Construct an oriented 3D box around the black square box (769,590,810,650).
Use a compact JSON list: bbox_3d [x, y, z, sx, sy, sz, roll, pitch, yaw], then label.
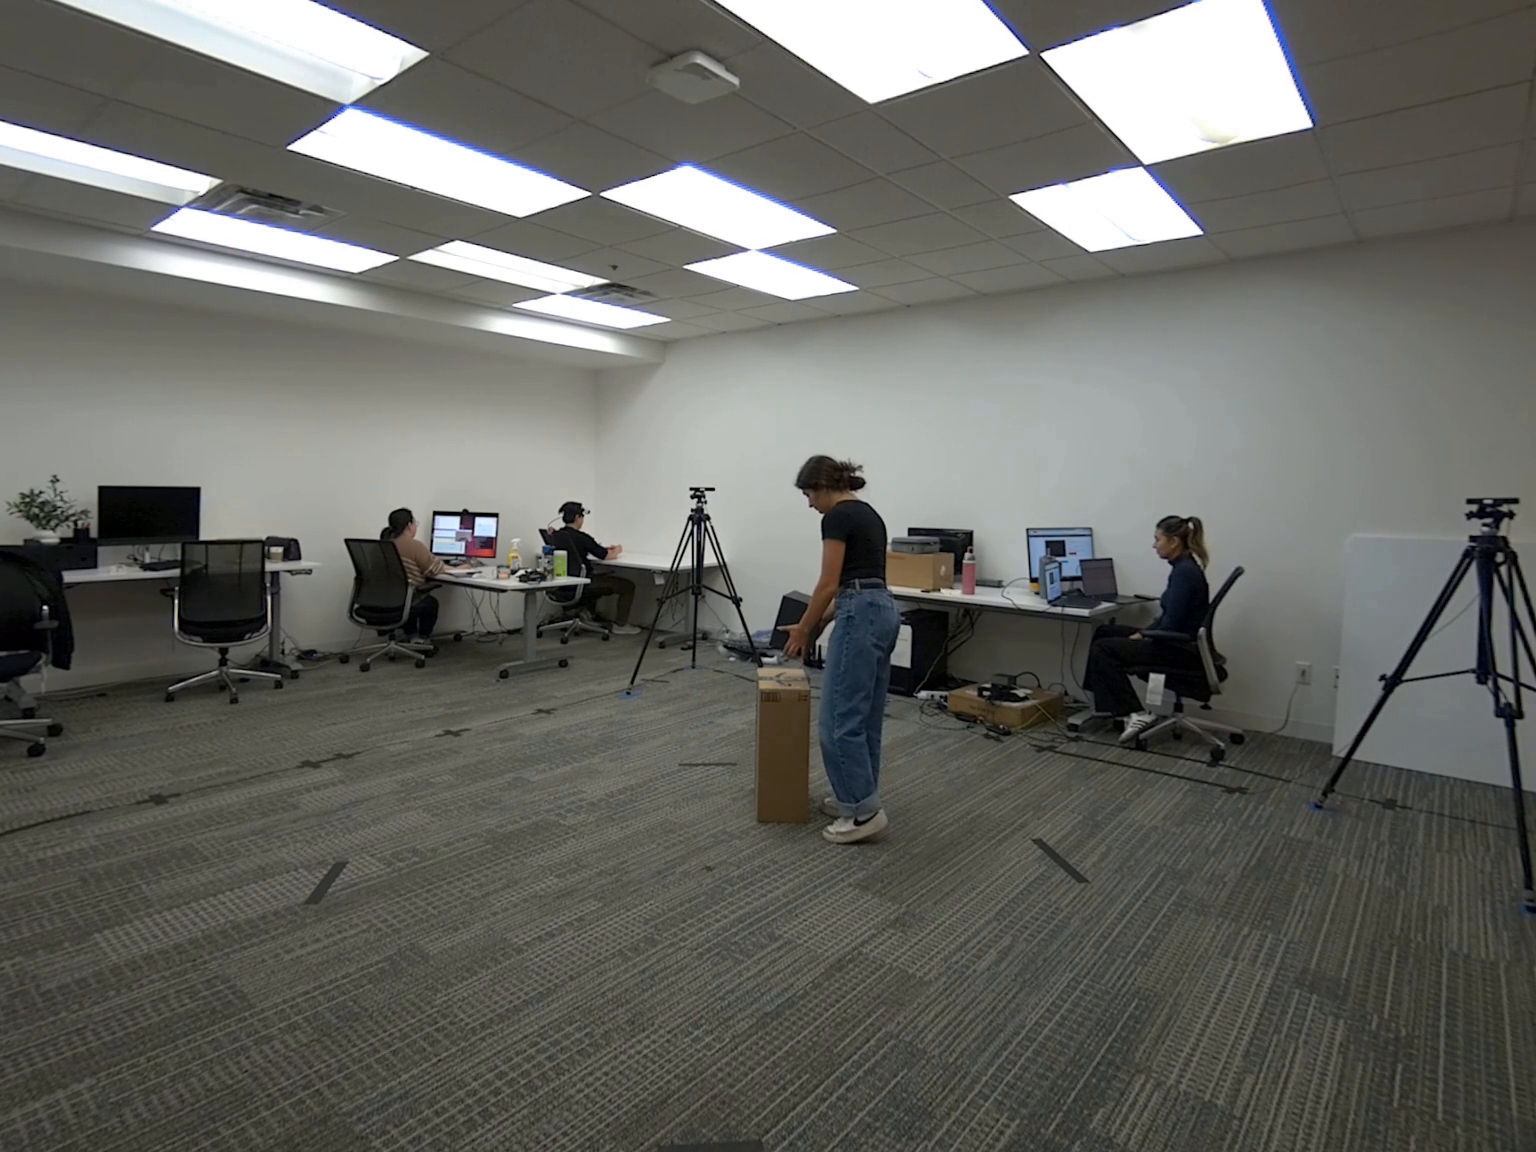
[{"bbox_3d":[0.117,0.198,3.732,0.158,0.227,0.214,17,9,12],"label":"black square box"}]
